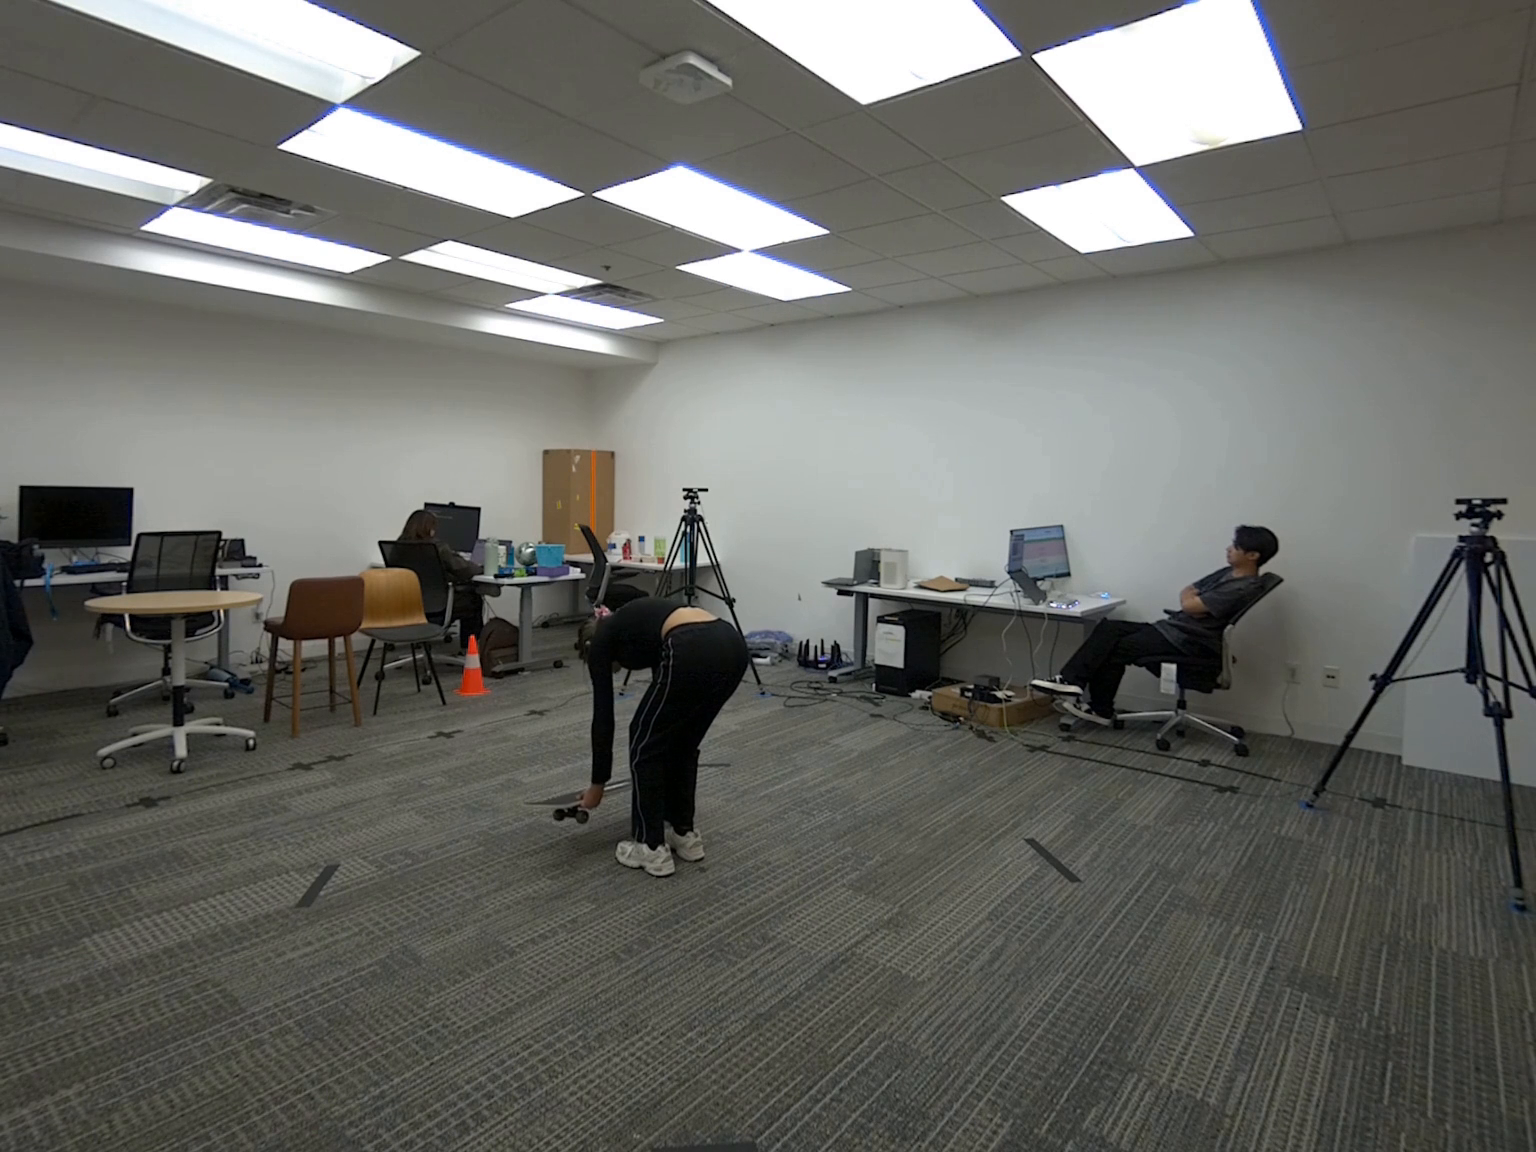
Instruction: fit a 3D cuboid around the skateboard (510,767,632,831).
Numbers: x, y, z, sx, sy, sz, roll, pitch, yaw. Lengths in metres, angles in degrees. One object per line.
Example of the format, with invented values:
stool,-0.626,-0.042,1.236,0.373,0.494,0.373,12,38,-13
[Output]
skateboard,-0.653,0.878,3.441,0.198,0.111,0.761,-11,-6,44
